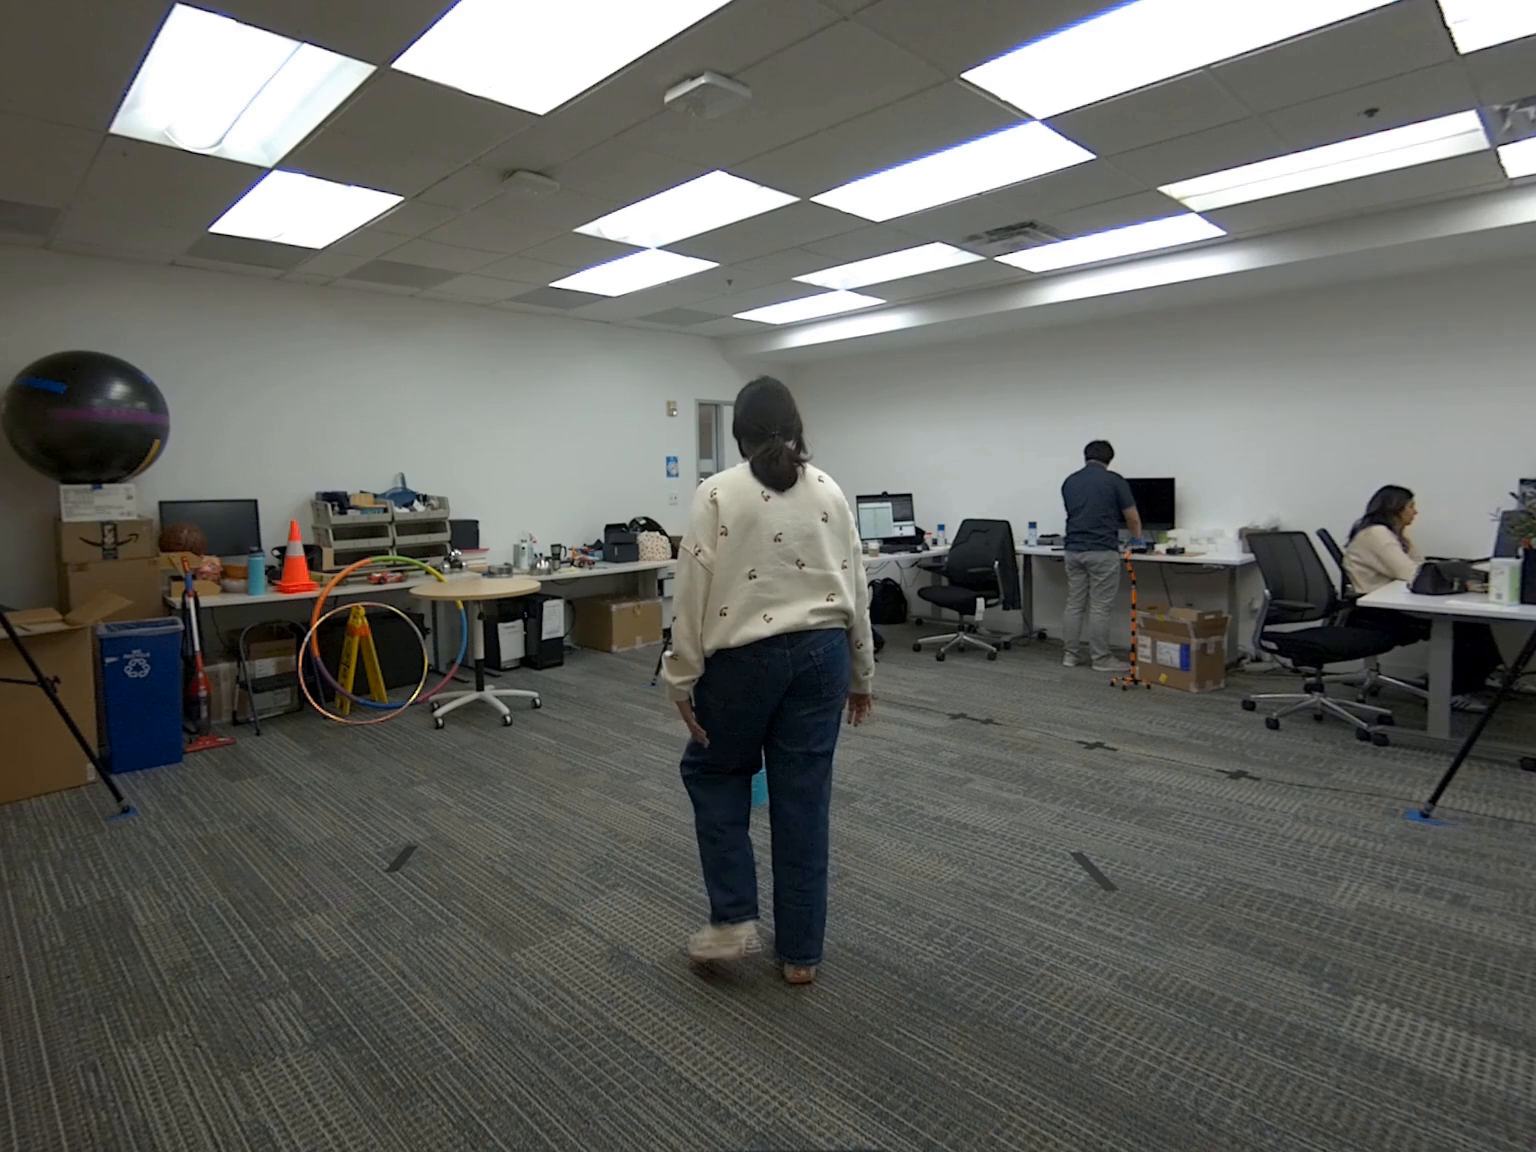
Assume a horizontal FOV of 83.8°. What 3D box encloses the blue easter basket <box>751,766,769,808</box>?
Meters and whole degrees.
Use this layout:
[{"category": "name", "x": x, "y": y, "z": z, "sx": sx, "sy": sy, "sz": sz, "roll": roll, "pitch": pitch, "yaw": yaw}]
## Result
[{"category": "blue easter basket", "x": -0.076, "y": 0.895, "z": 3.737, "sx": 0.243, "sy": 0.155, "sz": 0.245, "roll": -1, "pitch": 6, "yaw": -2}]
